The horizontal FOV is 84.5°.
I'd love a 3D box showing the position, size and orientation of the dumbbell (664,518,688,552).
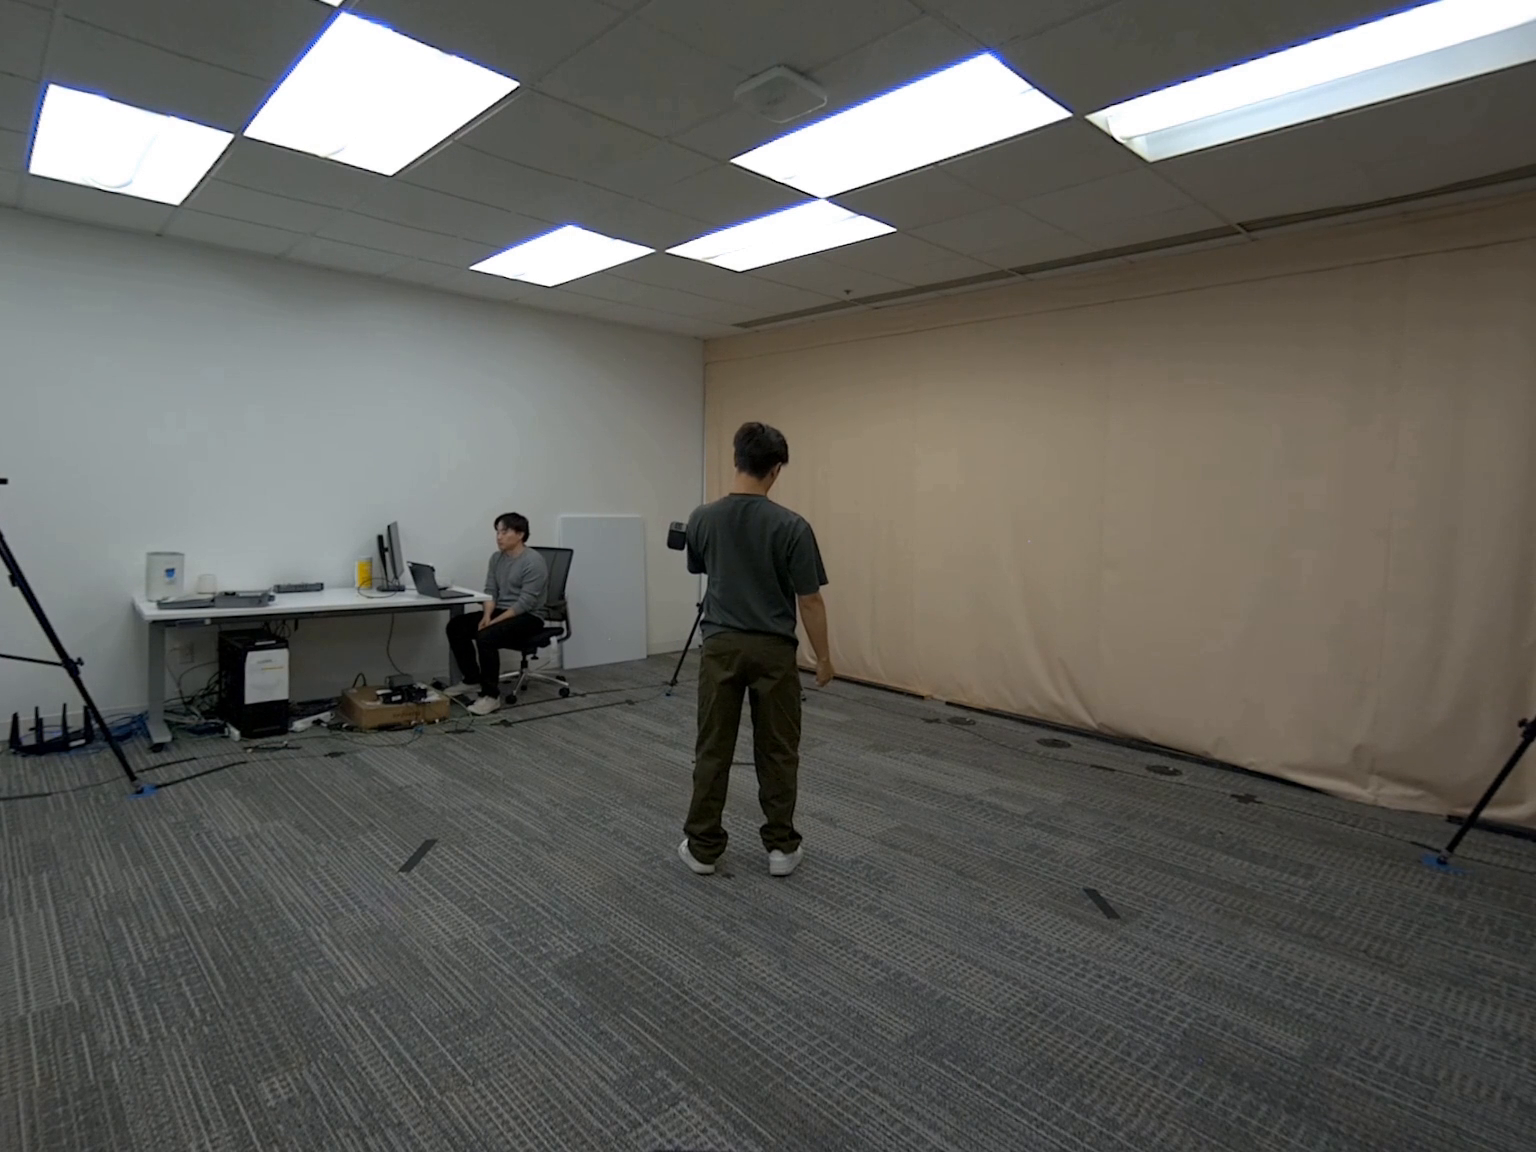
[{"bbox_3d":[-0.289,-0.164,3.641,0.293,0.122,0.109,9,6,-3],"label":"dumbbell"}]
